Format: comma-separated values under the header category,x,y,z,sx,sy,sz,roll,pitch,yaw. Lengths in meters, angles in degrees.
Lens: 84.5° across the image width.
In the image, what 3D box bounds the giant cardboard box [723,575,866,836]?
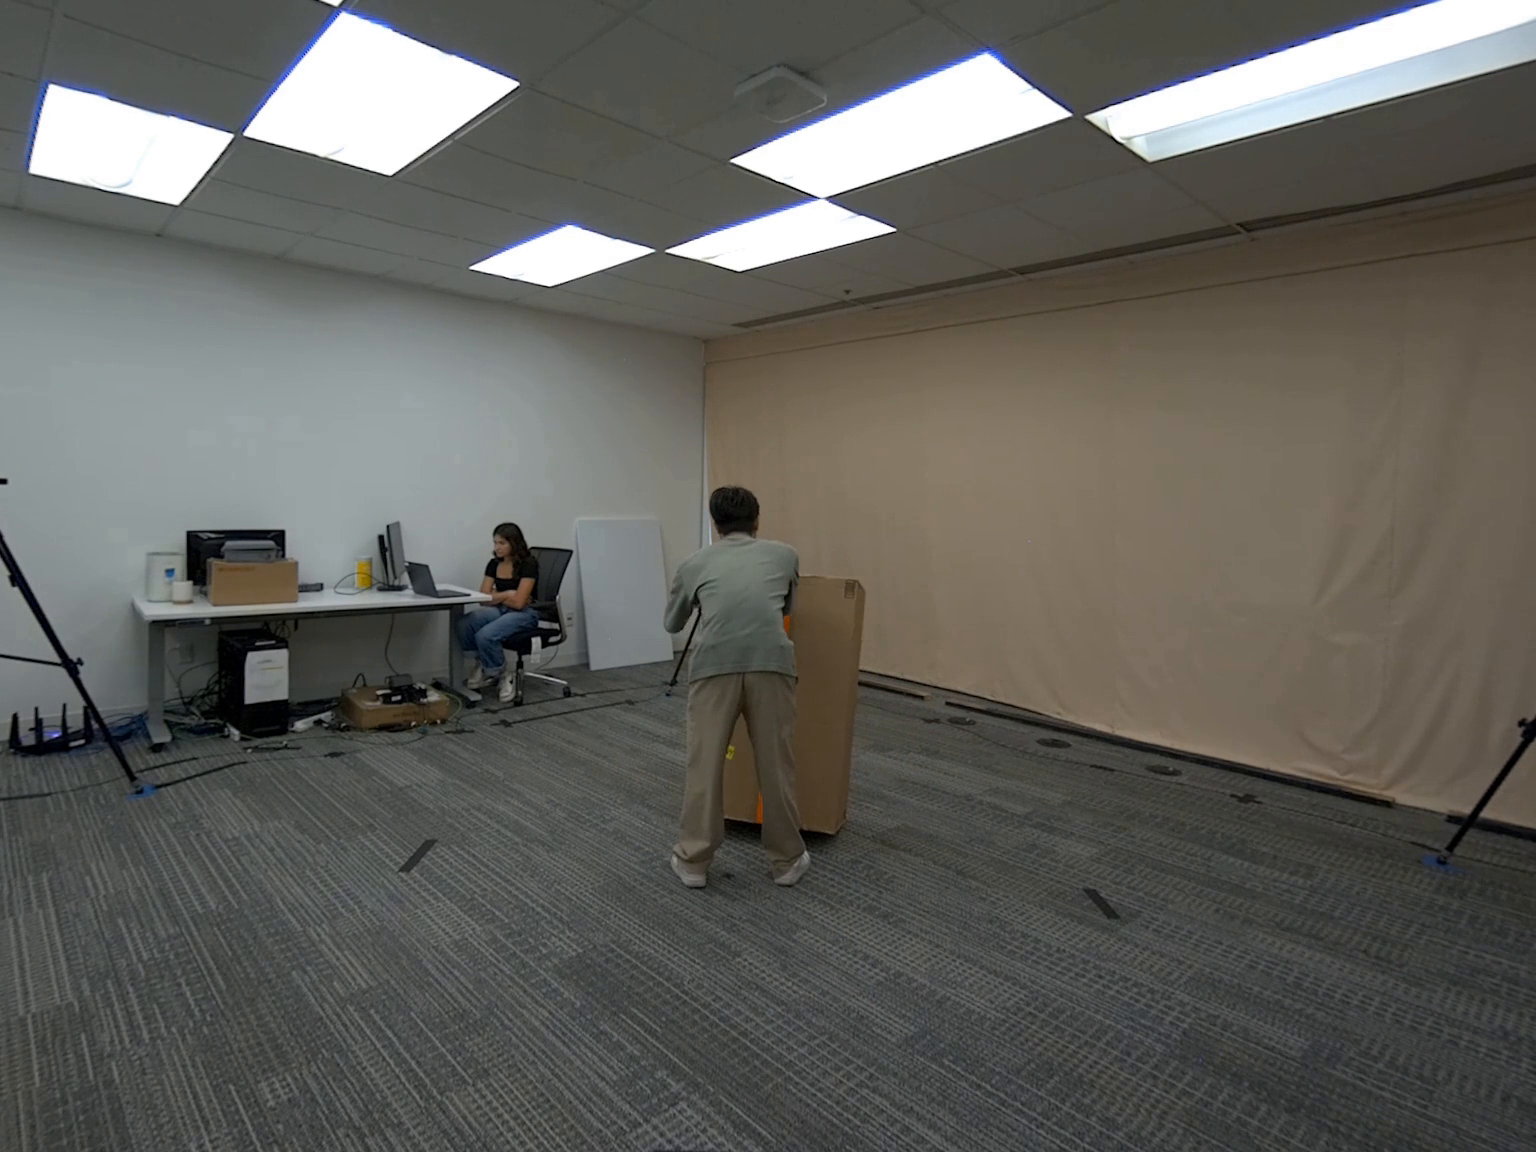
category,x,y,z,sx,sy,sz,roll,pitch,yaw
giant cardboard box,0.086,0.521,3.662,0.585,1.031,0.419,5,-8,14
